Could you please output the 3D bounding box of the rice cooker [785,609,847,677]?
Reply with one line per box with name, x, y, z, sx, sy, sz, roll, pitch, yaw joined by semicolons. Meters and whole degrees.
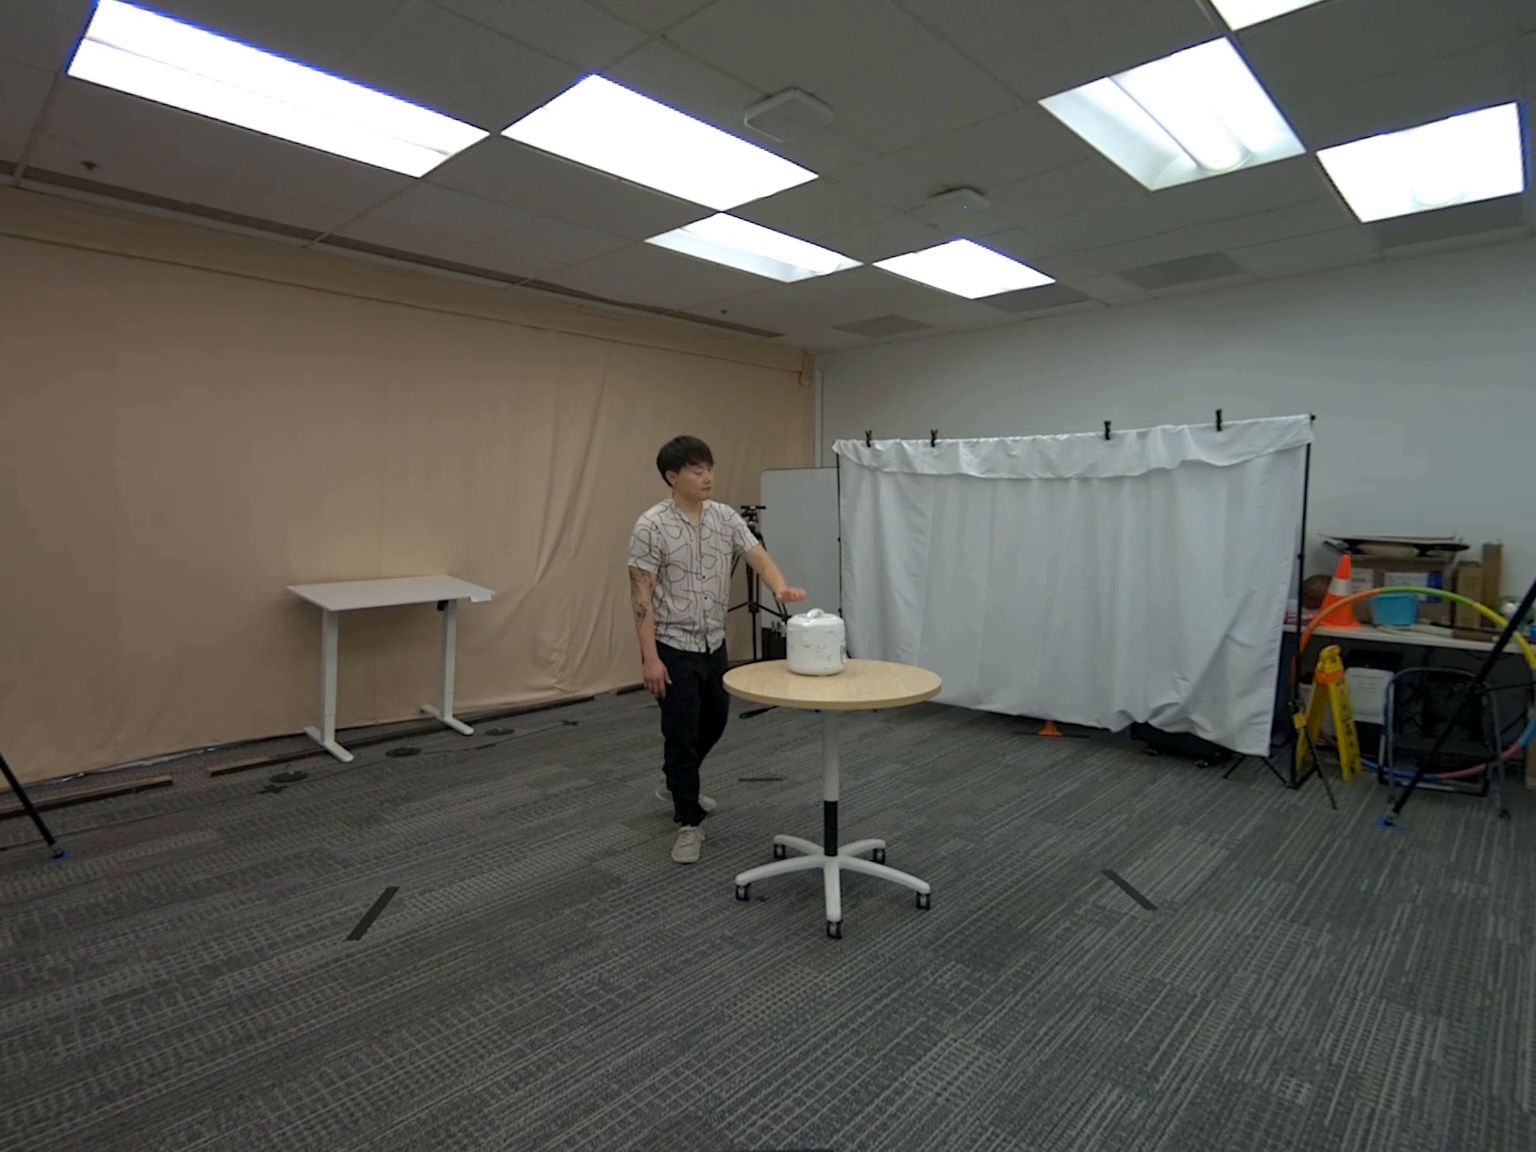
rice cooker;0.181;0.237;3.083;0.223;0.232;0.216;0;3;23
